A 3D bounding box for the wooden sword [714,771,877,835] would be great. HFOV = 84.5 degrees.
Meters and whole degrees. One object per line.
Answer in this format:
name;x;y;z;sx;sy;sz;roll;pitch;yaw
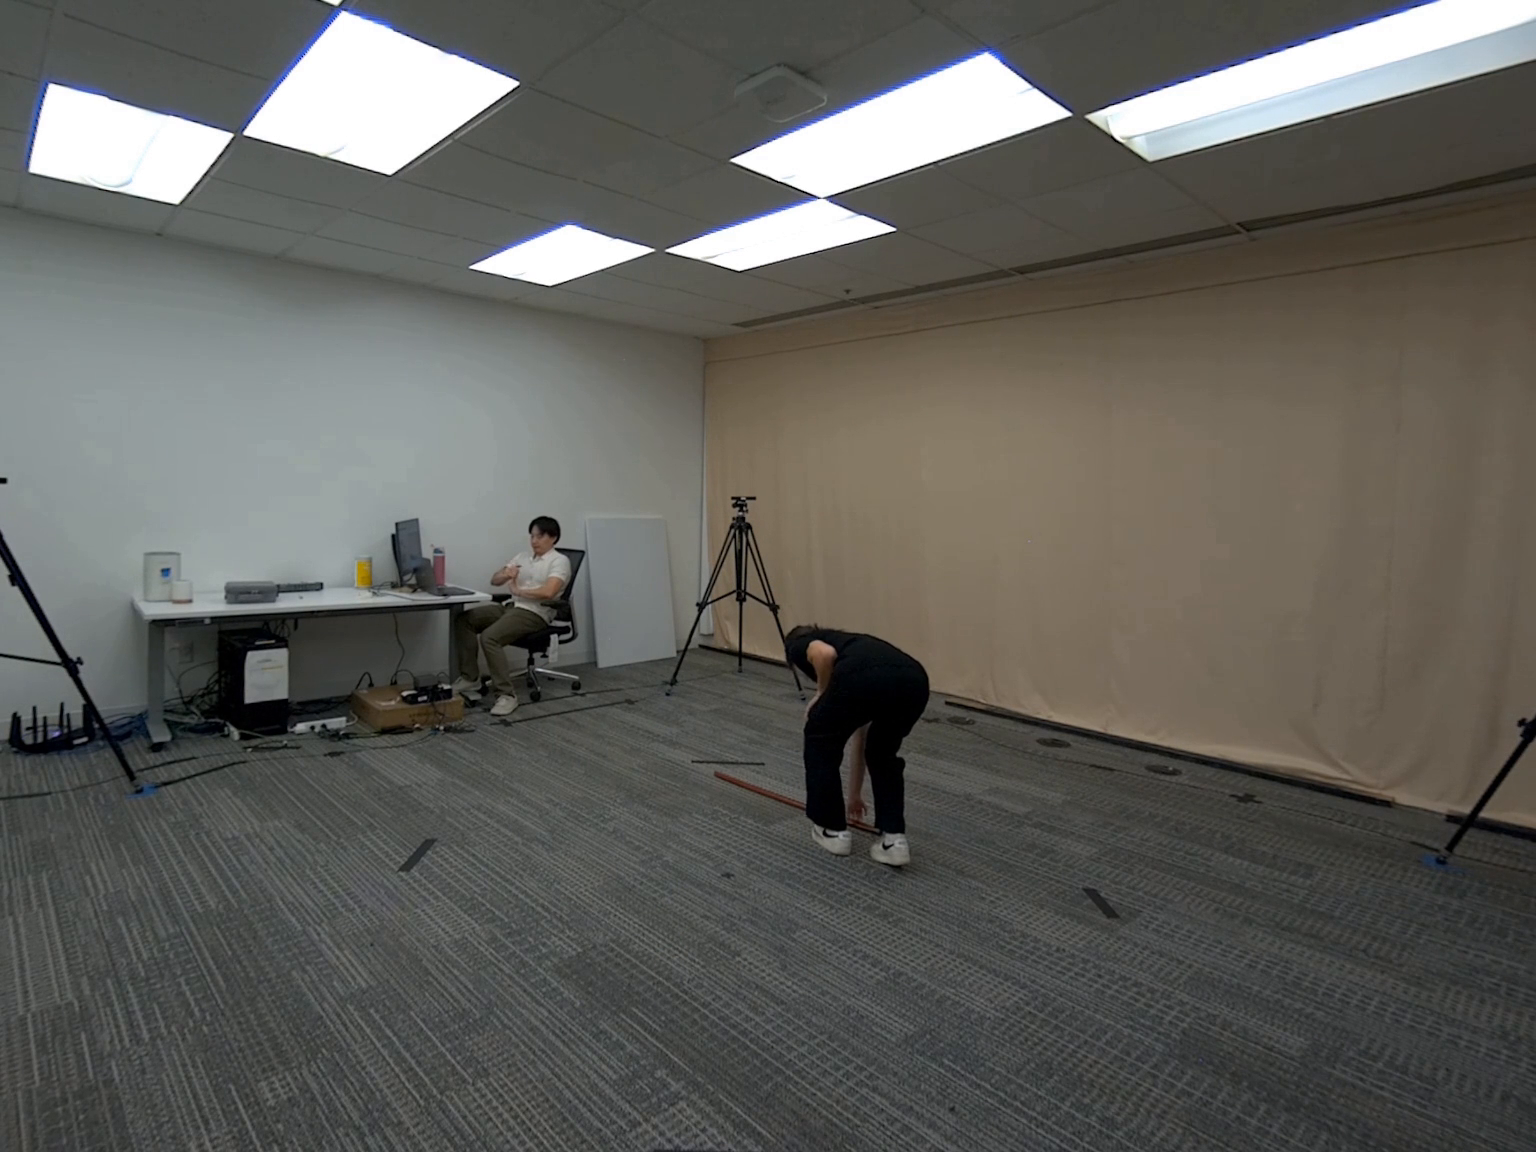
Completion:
wooden sword;0.066;1.016;3.871;0.050;0.024;1.051;-23;20;-41
